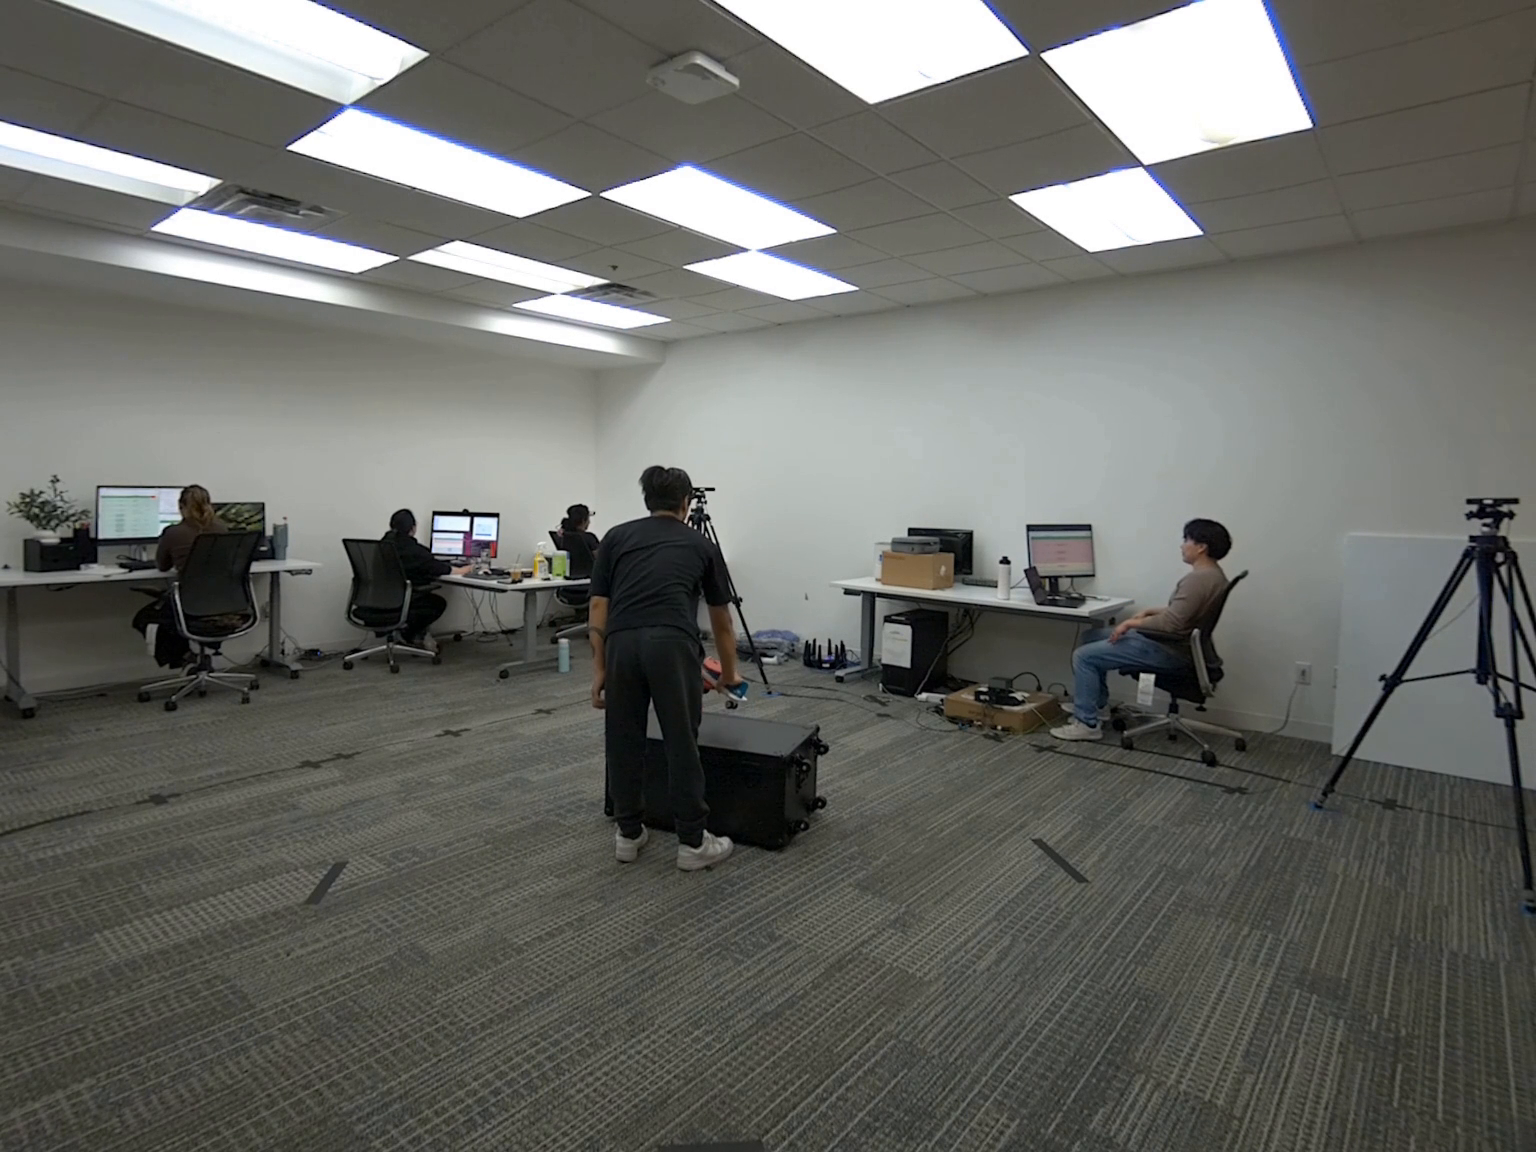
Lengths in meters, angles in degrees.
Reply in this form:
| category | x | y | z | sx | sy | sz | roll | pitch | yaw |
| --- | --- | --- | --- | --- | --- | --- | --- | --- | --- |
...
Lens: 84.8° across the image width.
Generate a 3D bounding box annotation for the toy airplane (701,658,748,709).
| category | x | y | z | sx | sy | sz | roll | pitch | yaw |
| --- | --- | --- | --- | --- | --- | --- | --- | --- | --- |
| toy airplane | -0.205 | 0.450 | 3.588 | 0.262 | 0.156 | 0.249 | 19 | 0 | 6 |
